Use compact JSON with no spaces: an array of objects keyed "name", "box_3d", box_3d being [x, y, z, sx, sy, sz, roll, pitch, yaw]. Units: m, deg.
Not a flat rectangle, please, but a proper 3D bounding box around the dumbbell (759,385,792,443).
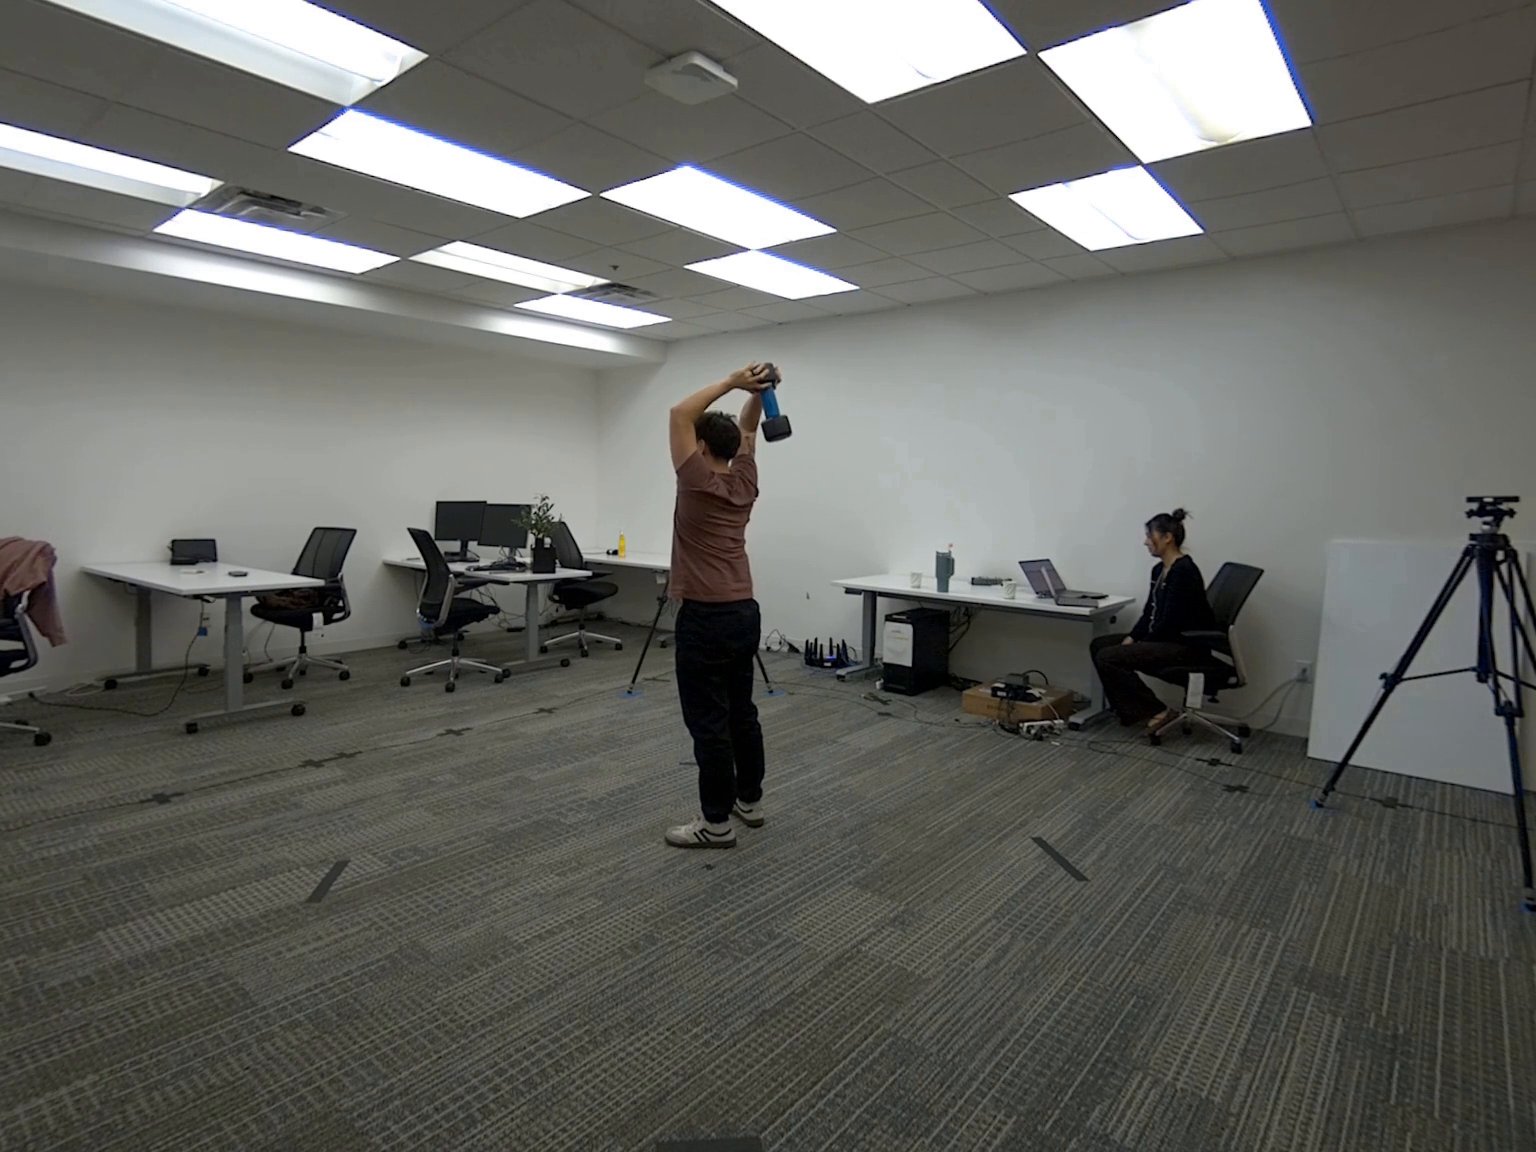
[{"name":"dumbbell","box_3d":[-0.011,-0.663,3.287,0.106,0.296,0.125,-10,-8,-44]}]
